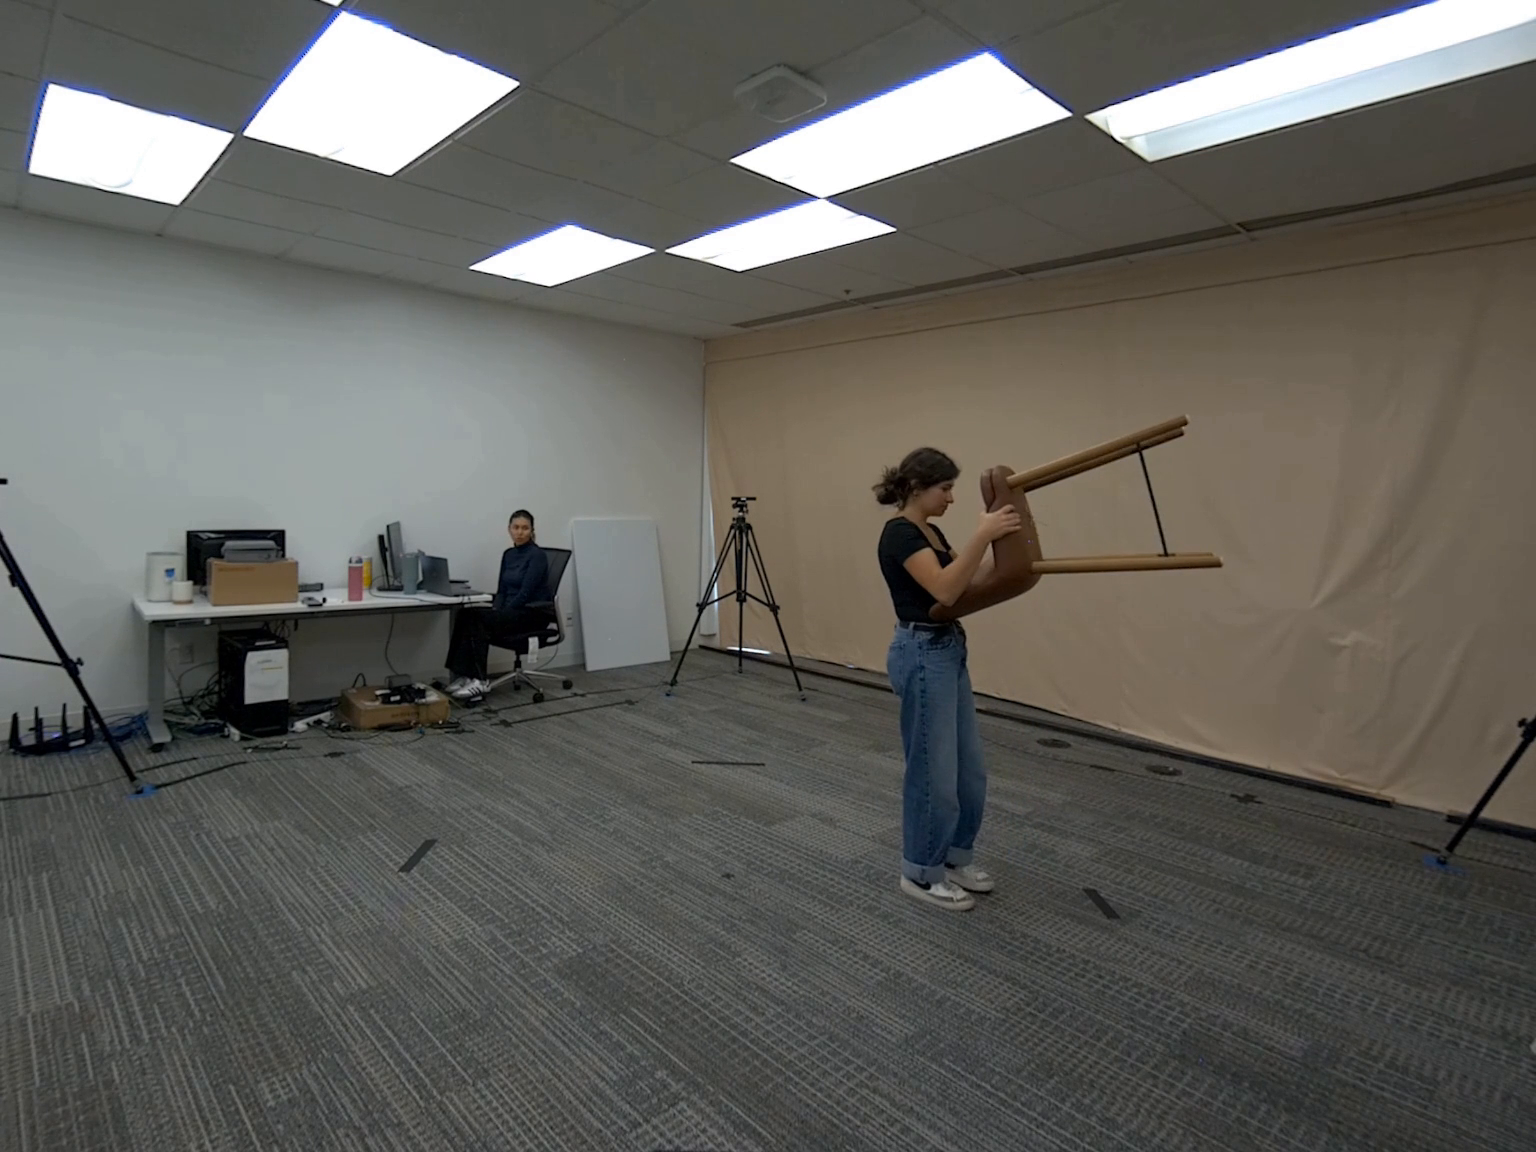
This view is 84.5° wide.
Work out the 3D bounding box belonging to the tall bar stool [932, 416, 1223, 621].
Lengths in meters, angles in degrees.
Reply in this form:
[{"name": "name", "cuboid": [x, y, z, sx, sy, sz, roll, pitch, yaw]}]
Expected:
[{"name": "tall bar stool", "cuboid": [0.943, -0.166, 2.784, 0.902, 0.469, 0.449, -15, -3, 27]}]
